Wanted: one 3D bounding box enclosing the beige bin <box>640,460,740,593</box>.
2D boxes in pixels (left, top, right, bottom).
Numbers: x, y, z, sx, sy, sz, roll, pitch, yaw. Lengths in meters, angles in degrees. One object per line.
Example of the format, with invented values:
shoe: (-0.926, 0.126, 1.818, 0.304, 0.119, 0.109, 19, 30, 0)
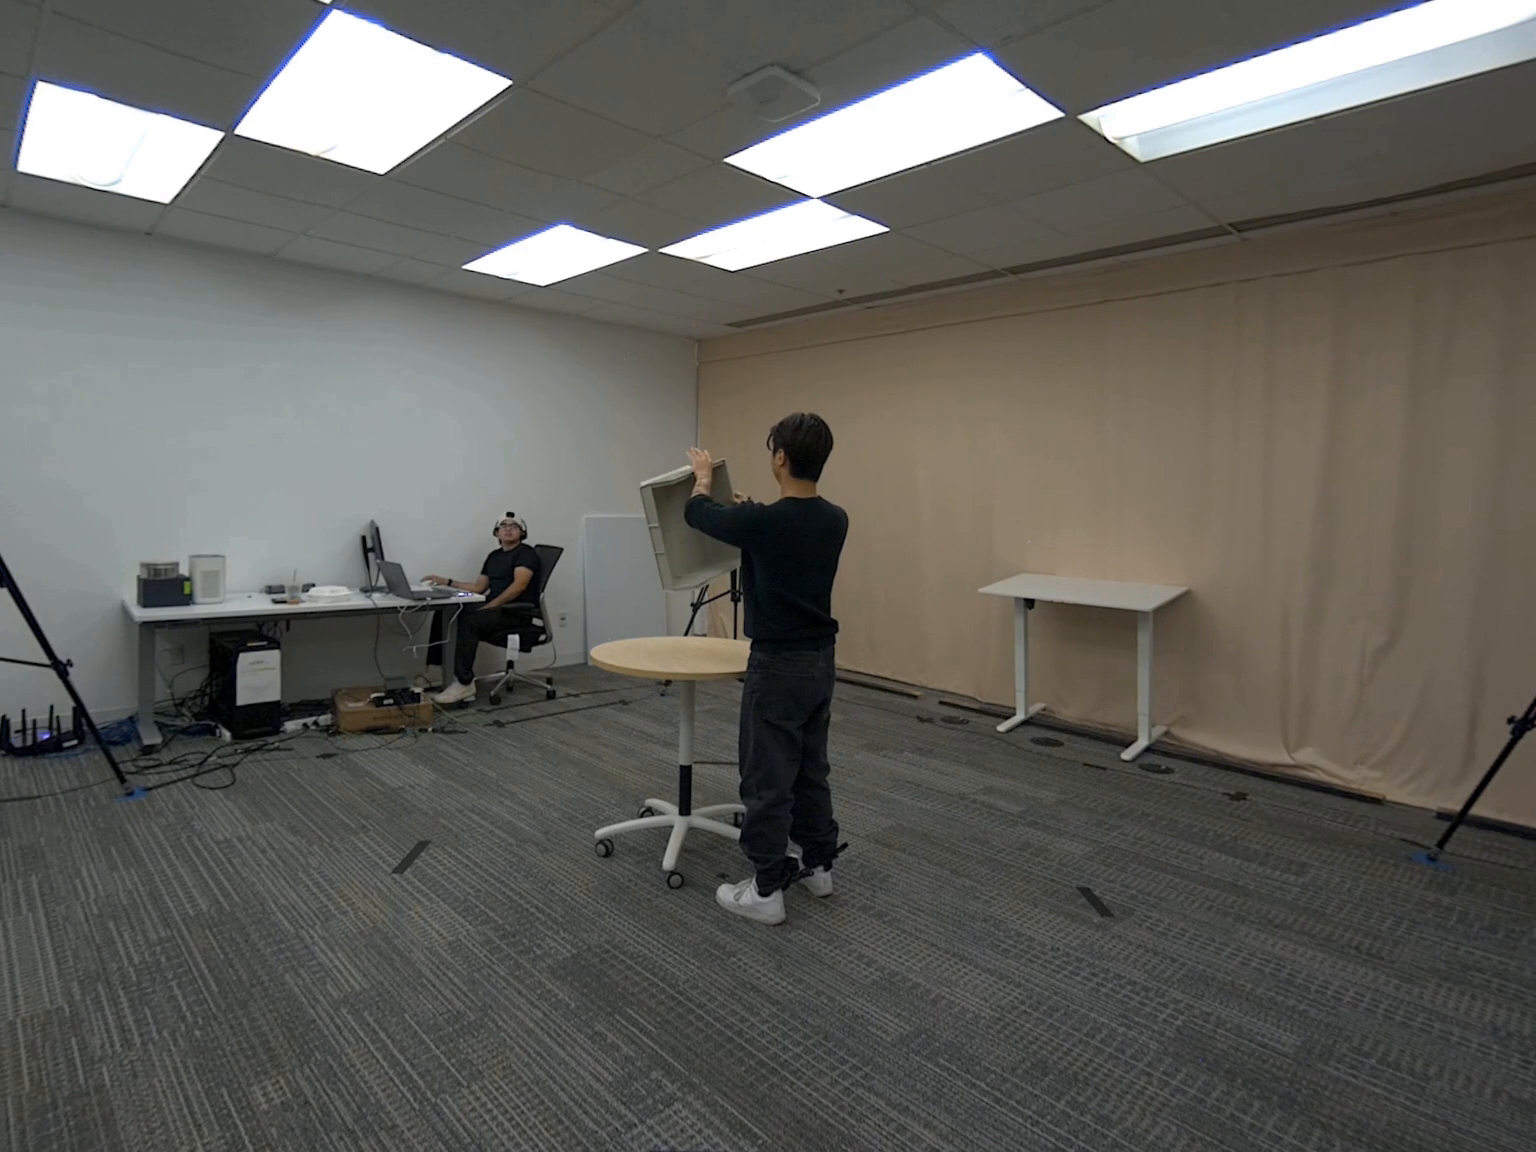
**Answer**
beige bin: (-0.290, -0.195, 3.211, 0.193, 0.417, 0.374, -5, 16, 35)
